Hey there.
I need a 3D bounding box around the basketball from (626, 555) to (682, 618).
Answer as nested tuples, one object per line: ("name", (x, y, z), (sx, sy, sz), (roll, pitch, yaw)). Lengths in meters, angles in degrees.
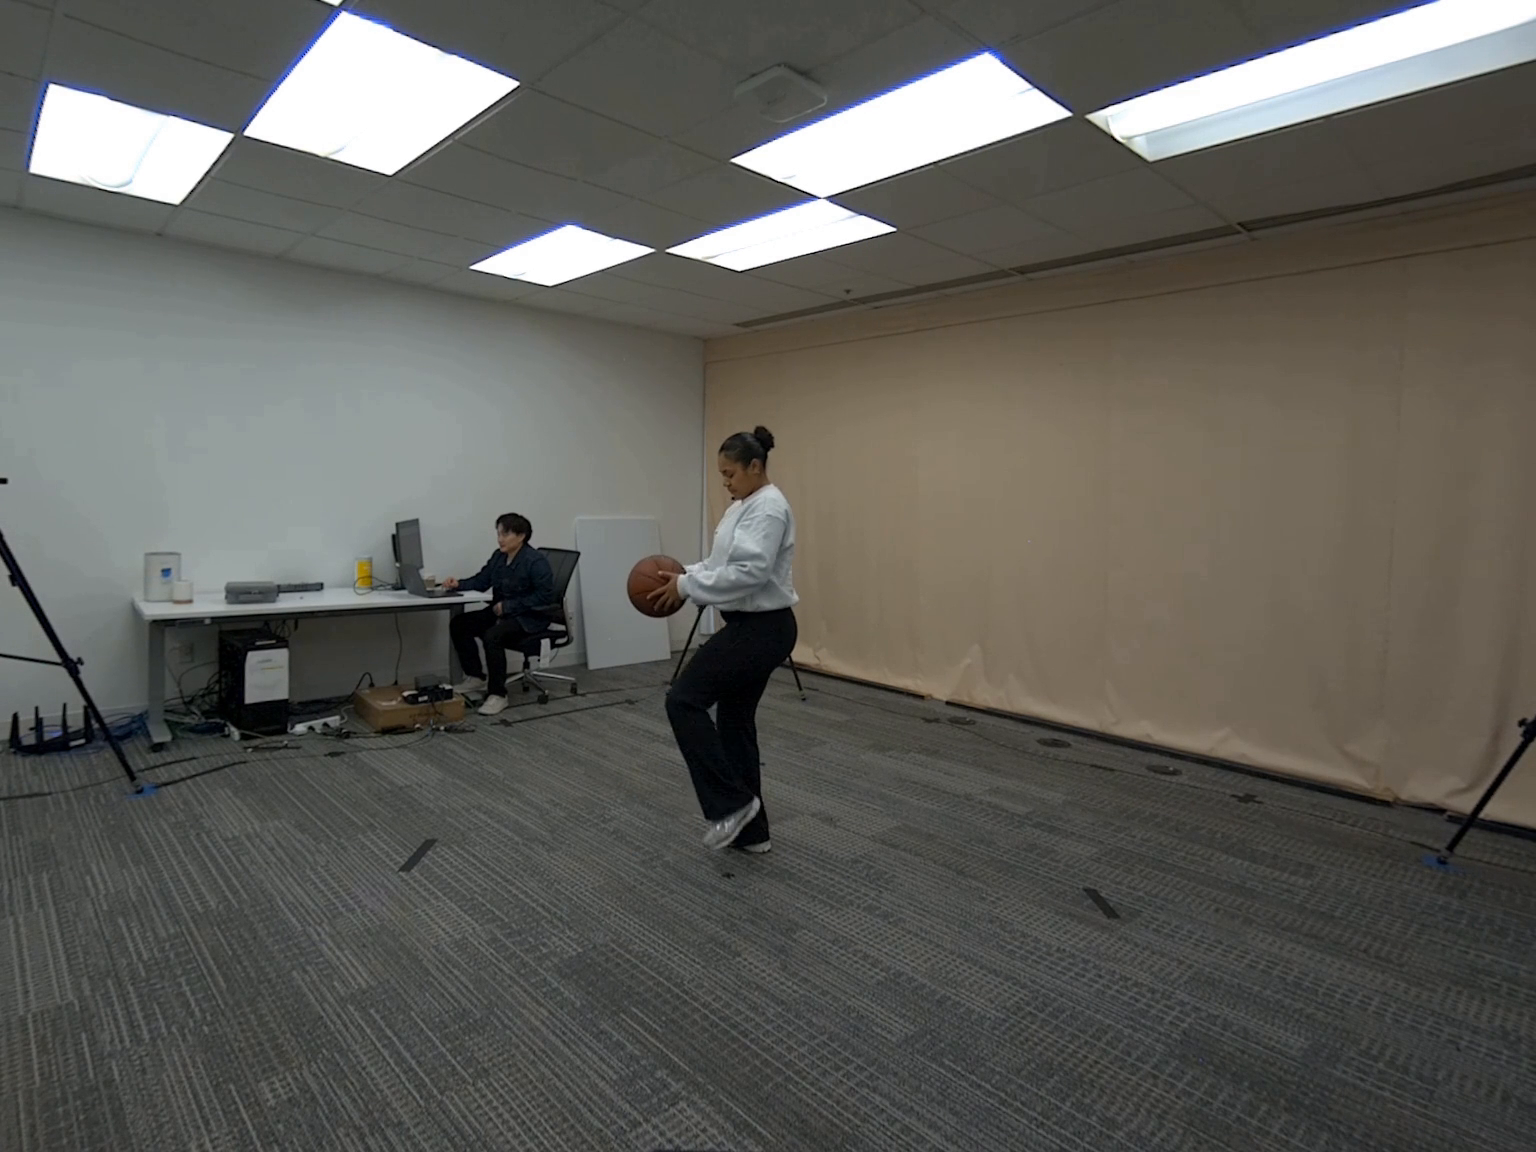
("basketball", (-0.412, 0.037, 3.189), (0.236, 0.235, 0.237), (1, 4, -1))
